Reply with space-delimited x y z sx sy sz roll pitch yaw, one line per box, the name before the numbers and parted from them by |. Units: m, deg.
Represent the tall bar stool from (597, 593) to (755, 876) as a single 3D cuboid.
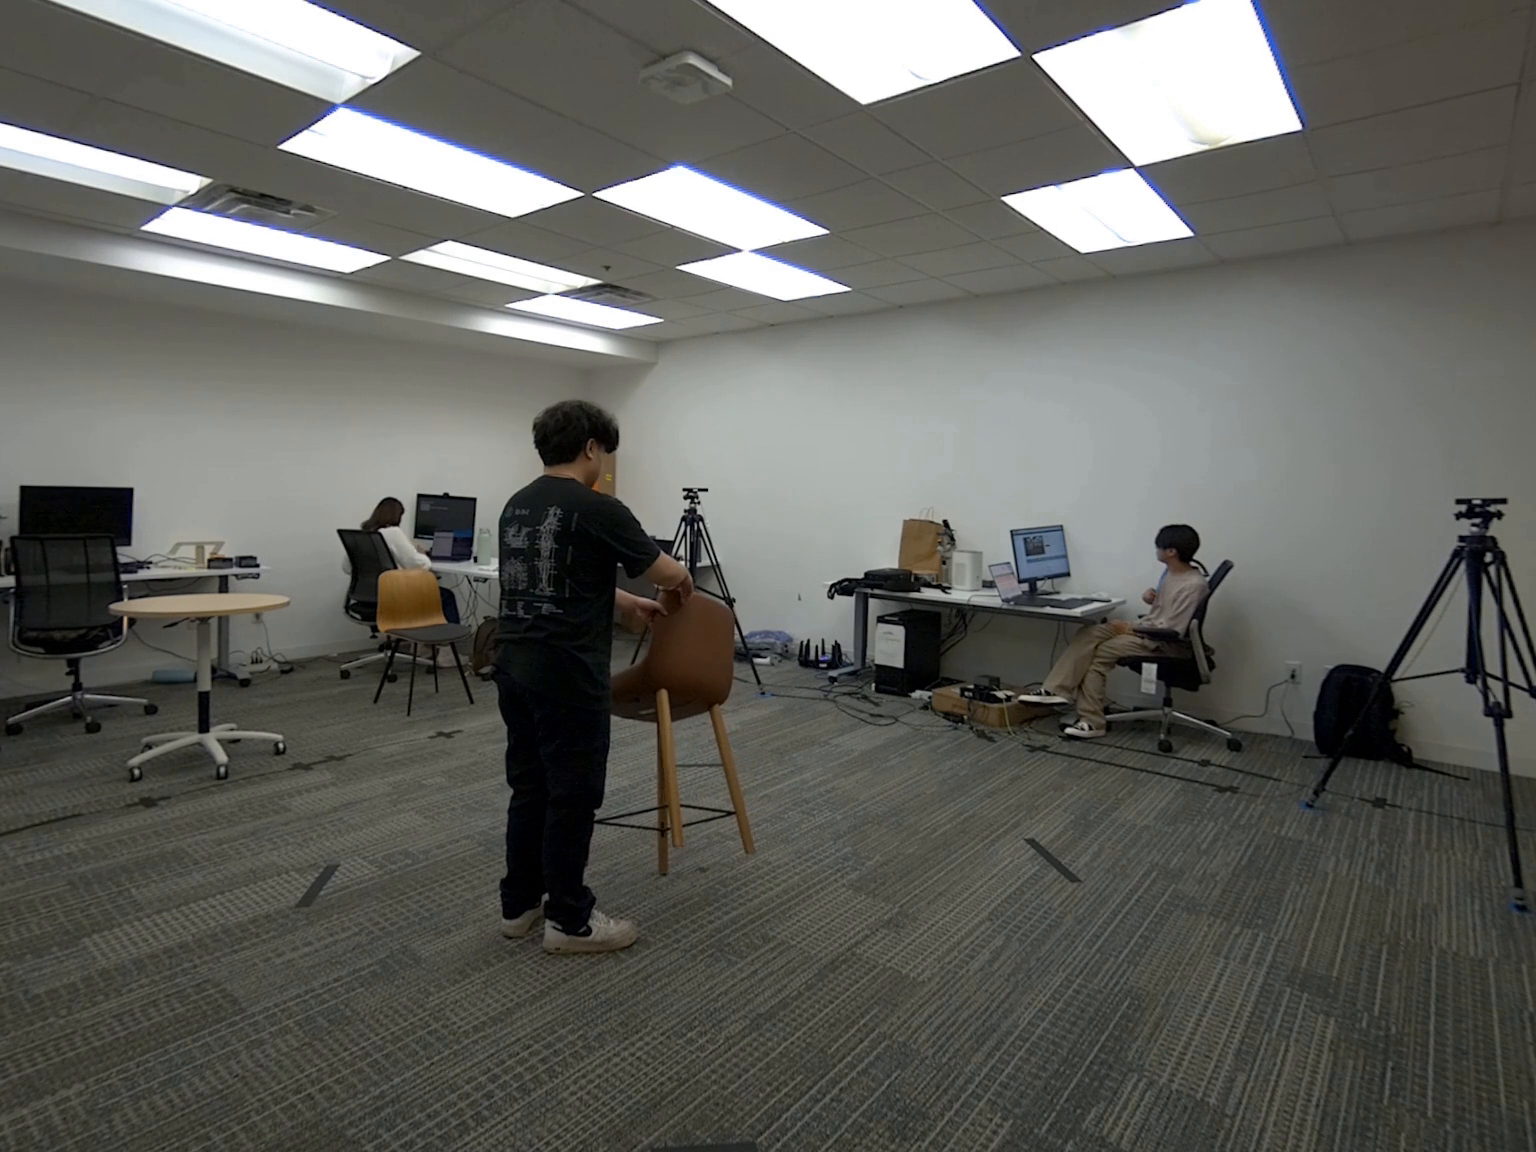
tall bar stool | -0.375 0.550 3.020 0.475 0.912 0.438 -24 -31 33
